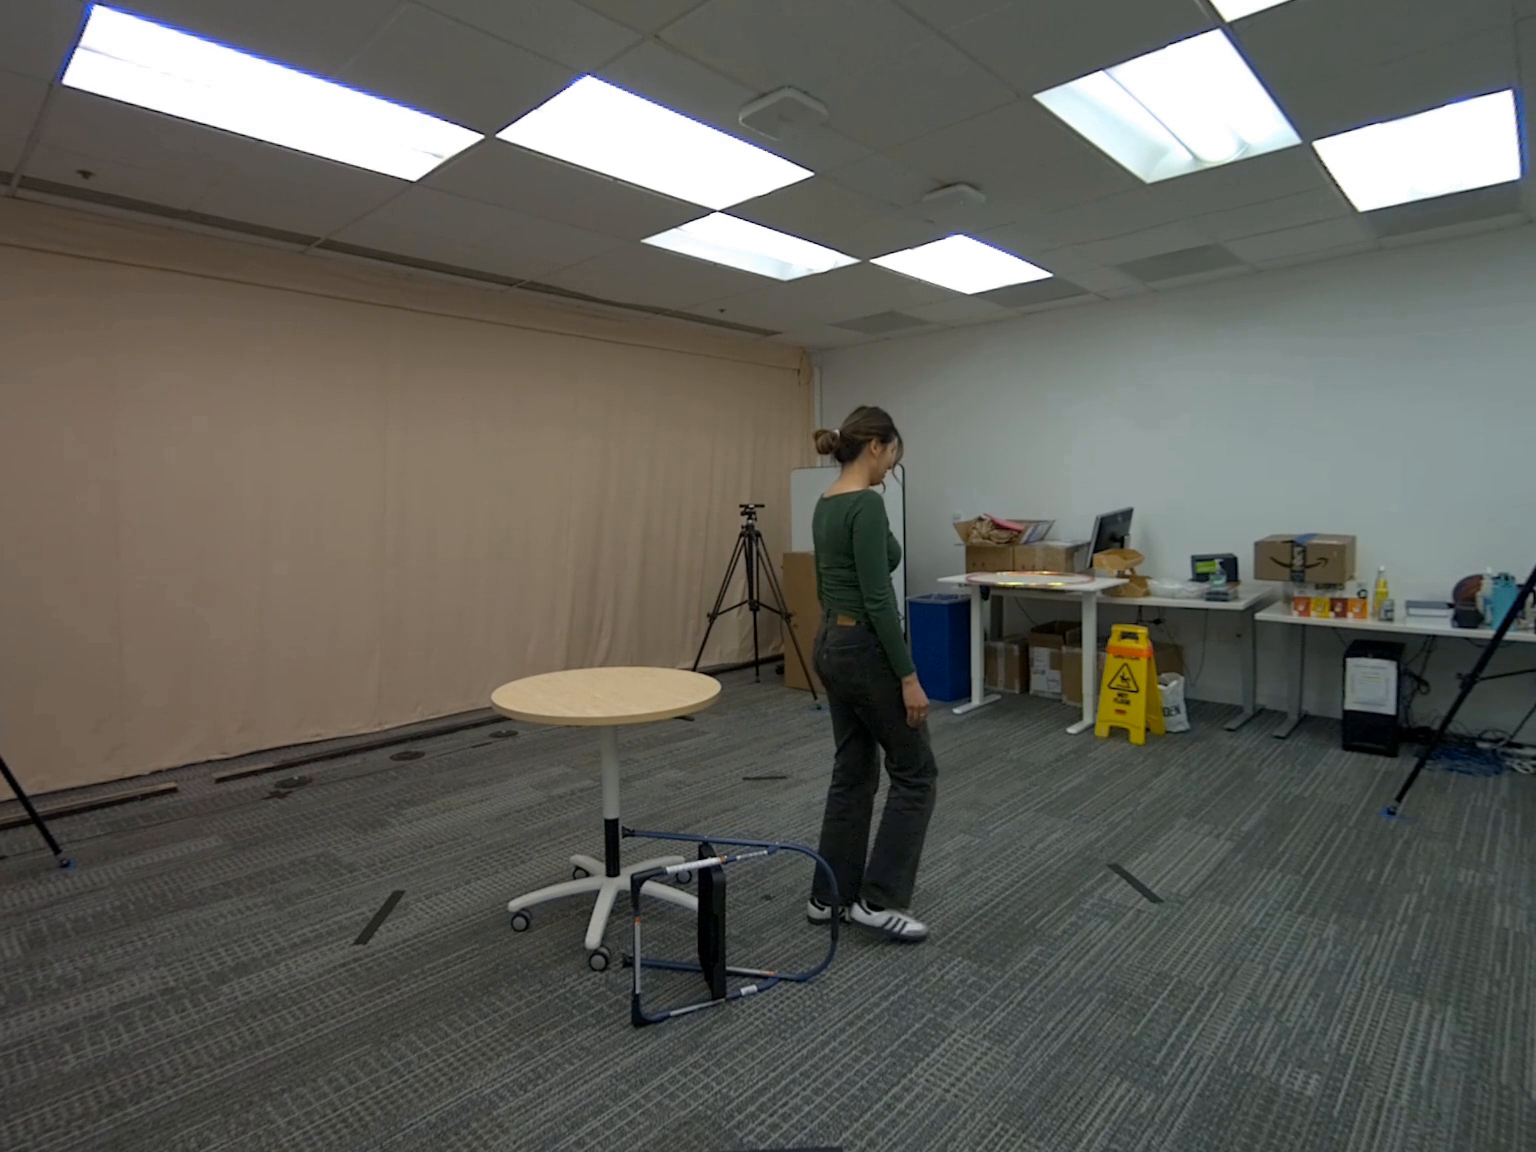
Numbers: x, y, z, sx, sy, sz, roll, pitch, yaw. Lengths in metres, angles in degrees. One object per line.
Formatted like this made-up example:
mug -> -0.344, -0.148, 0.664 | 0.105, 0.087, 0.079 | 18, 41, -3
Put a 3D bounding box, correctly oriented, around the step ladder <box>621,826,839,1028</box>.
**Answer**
step ladder -> -0.105, 0.970, 2.453 | 0.599, 0.429, 0.354 | -1, 5, -12
